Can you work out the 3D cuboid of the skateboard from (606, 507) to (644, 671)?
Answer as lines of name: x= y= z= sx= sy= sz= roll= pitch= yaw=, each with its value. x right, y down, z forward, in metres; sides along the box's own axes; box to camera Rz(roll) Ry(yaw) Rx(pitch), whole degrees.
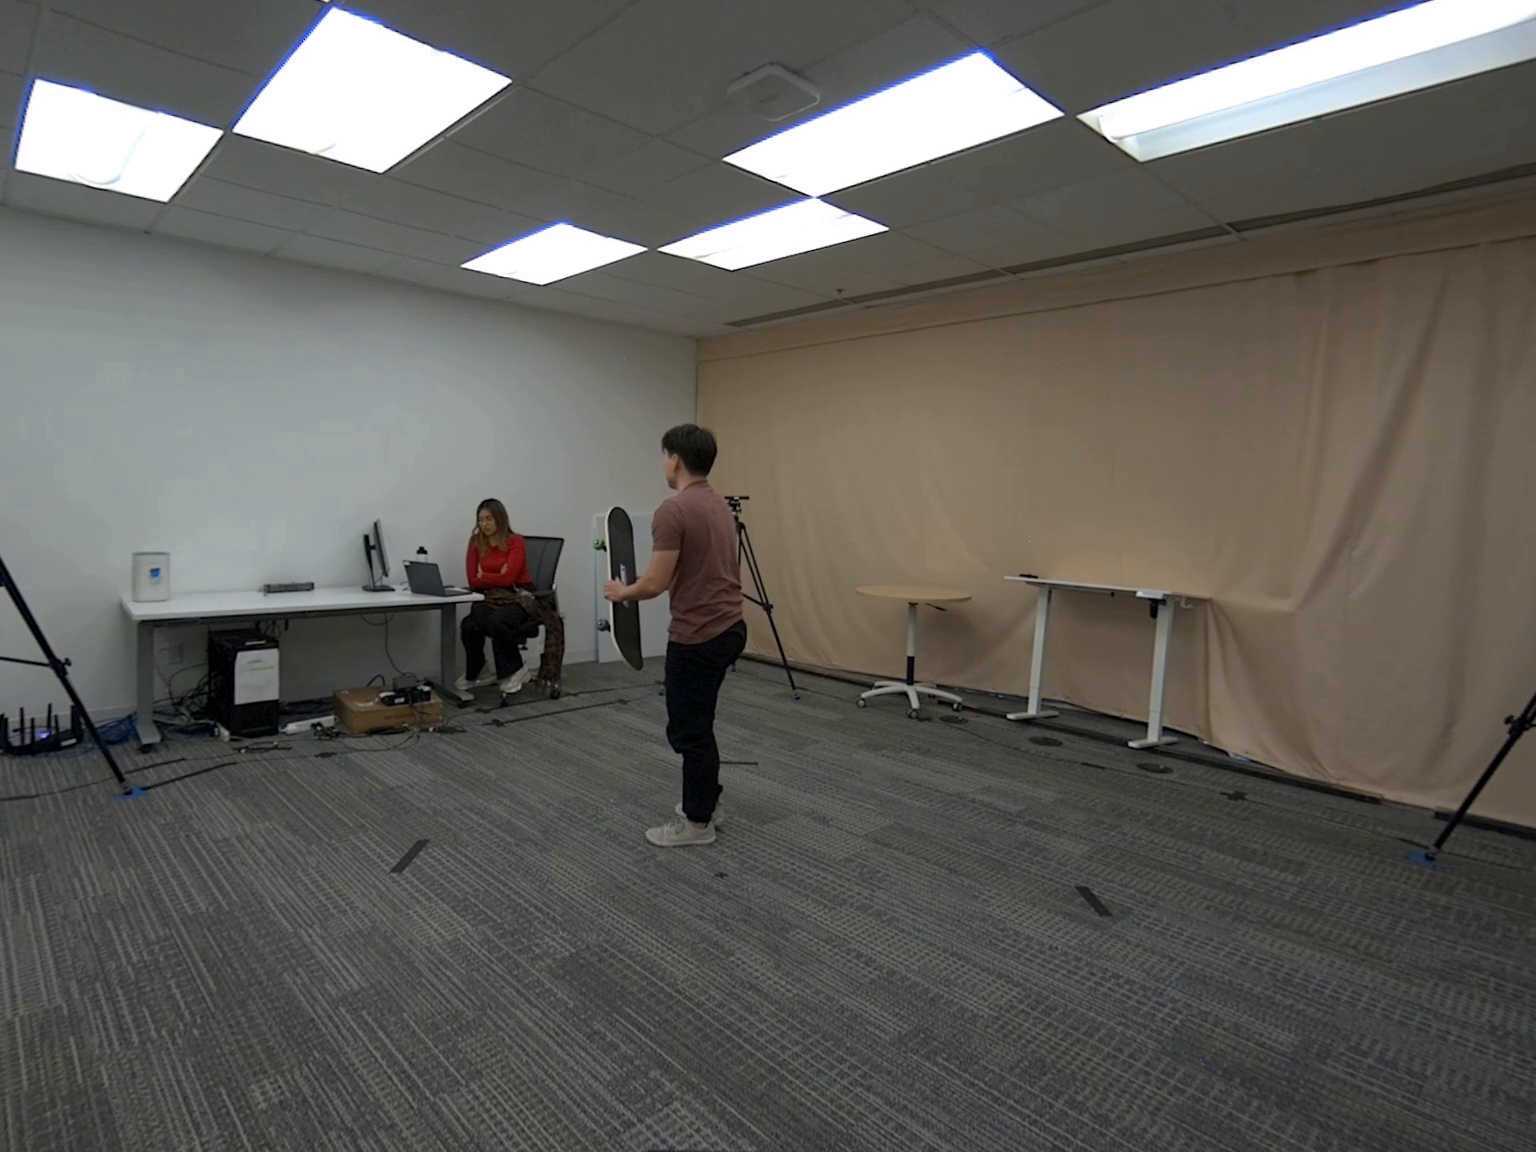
skateboard: x=-0.630 y=0.052 z=3.483 sx=0.111 sy=0.804 sz=0.187 roll=-25 pitch=-36 yaw=20
